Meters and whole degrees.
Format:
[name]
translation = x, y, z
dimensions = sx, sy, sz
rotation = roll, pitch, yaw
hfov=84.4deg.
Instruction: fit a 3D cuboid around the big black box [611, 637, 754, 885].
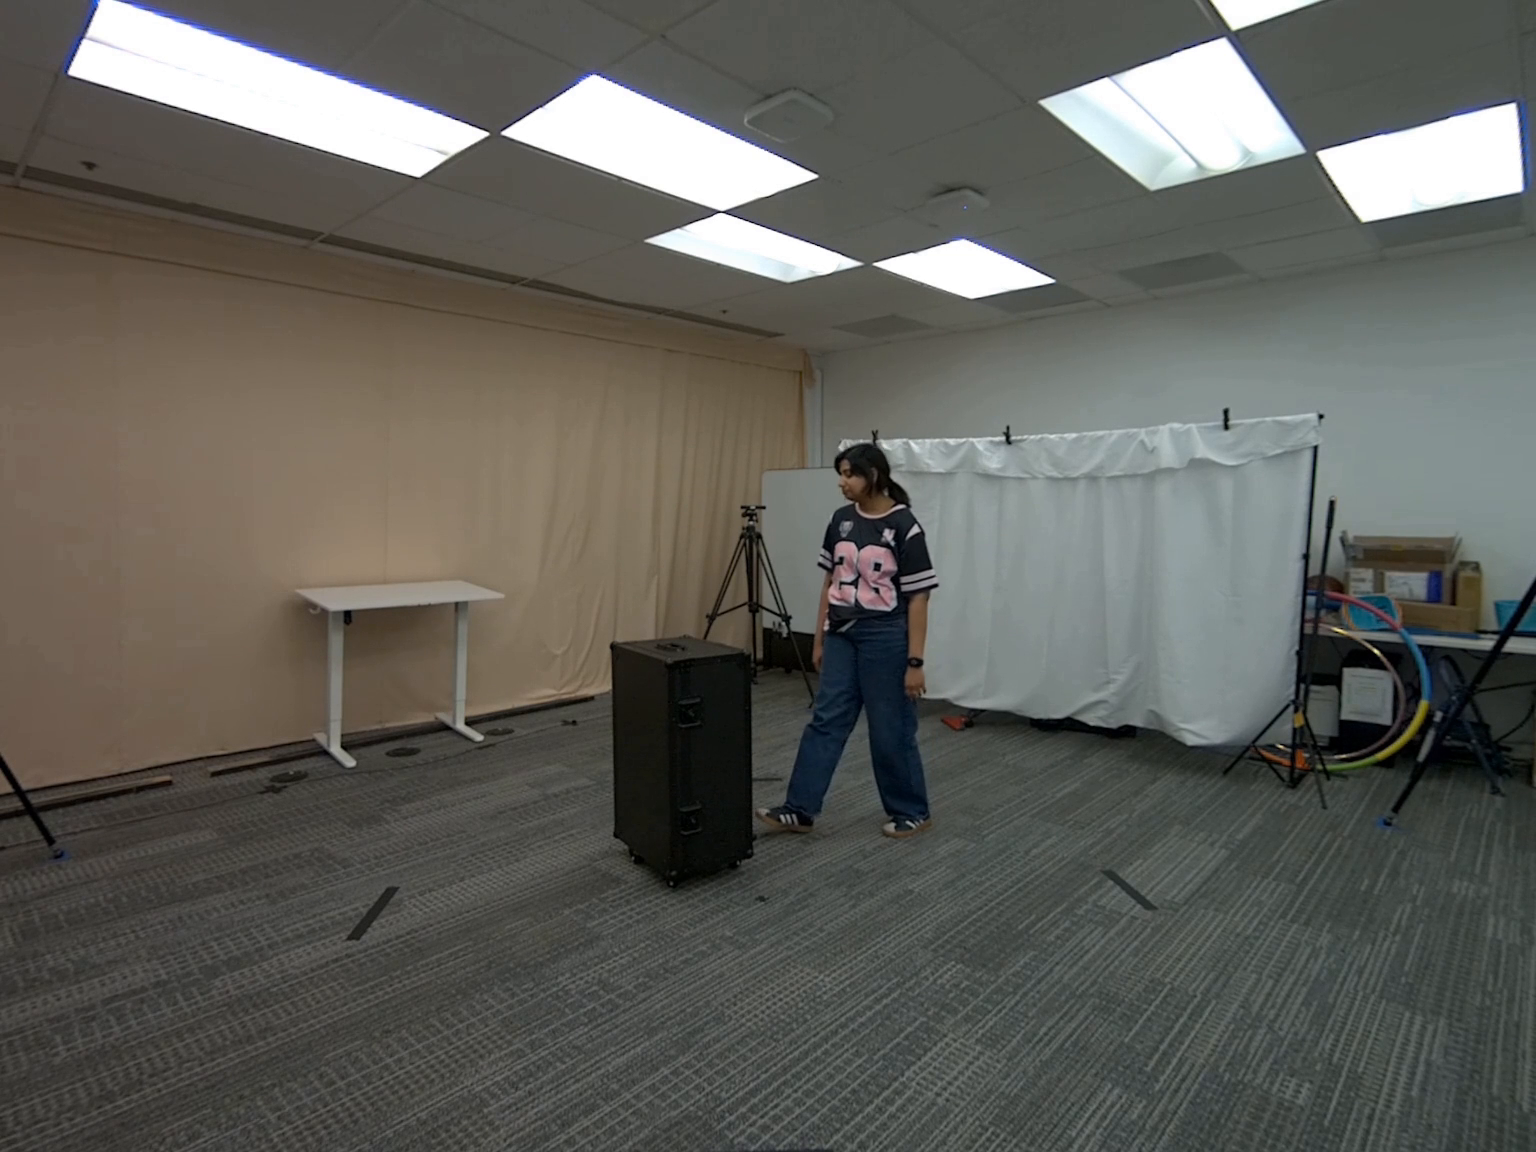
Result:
[big black box]
translation = -0.337, 0.701, 3.264
dimensions = 0.374, 0.867, 0.539
rotation = -2, 4, -34
